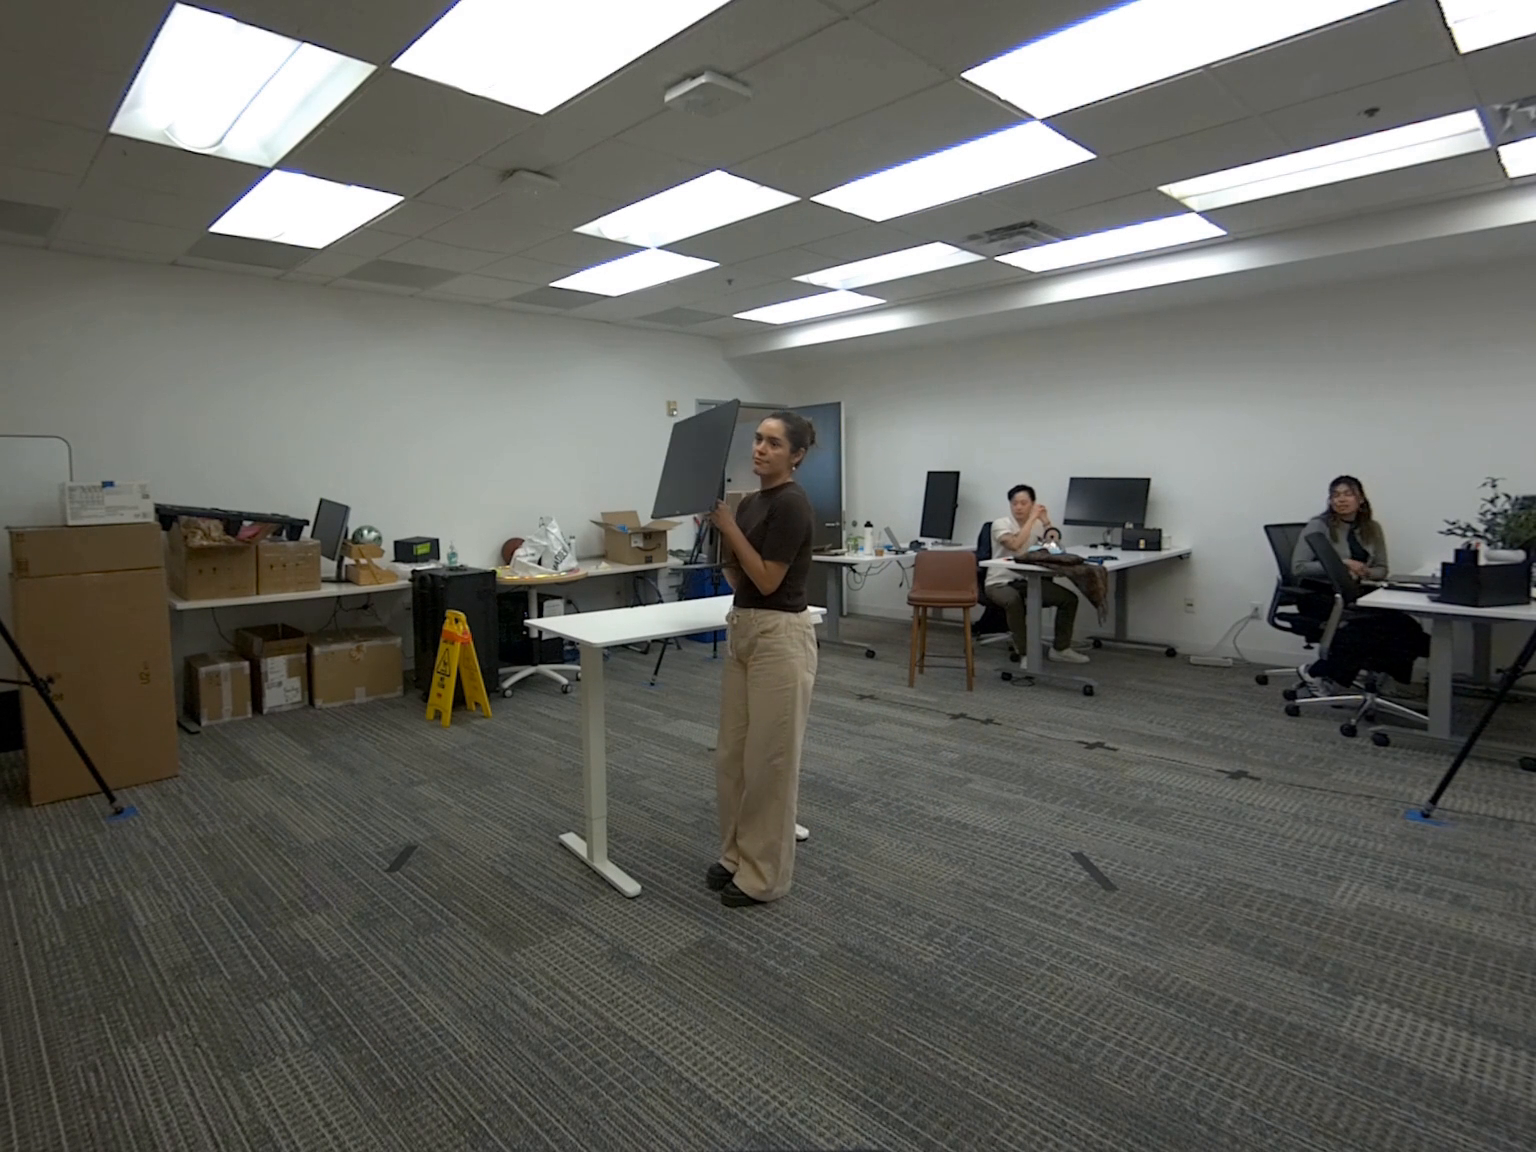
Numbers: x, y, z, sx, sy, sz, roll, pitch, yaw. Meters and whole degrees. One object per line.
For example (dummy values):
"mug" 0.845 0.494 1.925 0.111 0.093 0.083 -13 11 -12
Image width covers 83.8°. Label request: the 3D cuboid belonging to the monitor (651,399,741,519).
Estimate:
"monitor" -0.216 -0.279 2.790 0.183 0.523 0.552 2 0 -28
